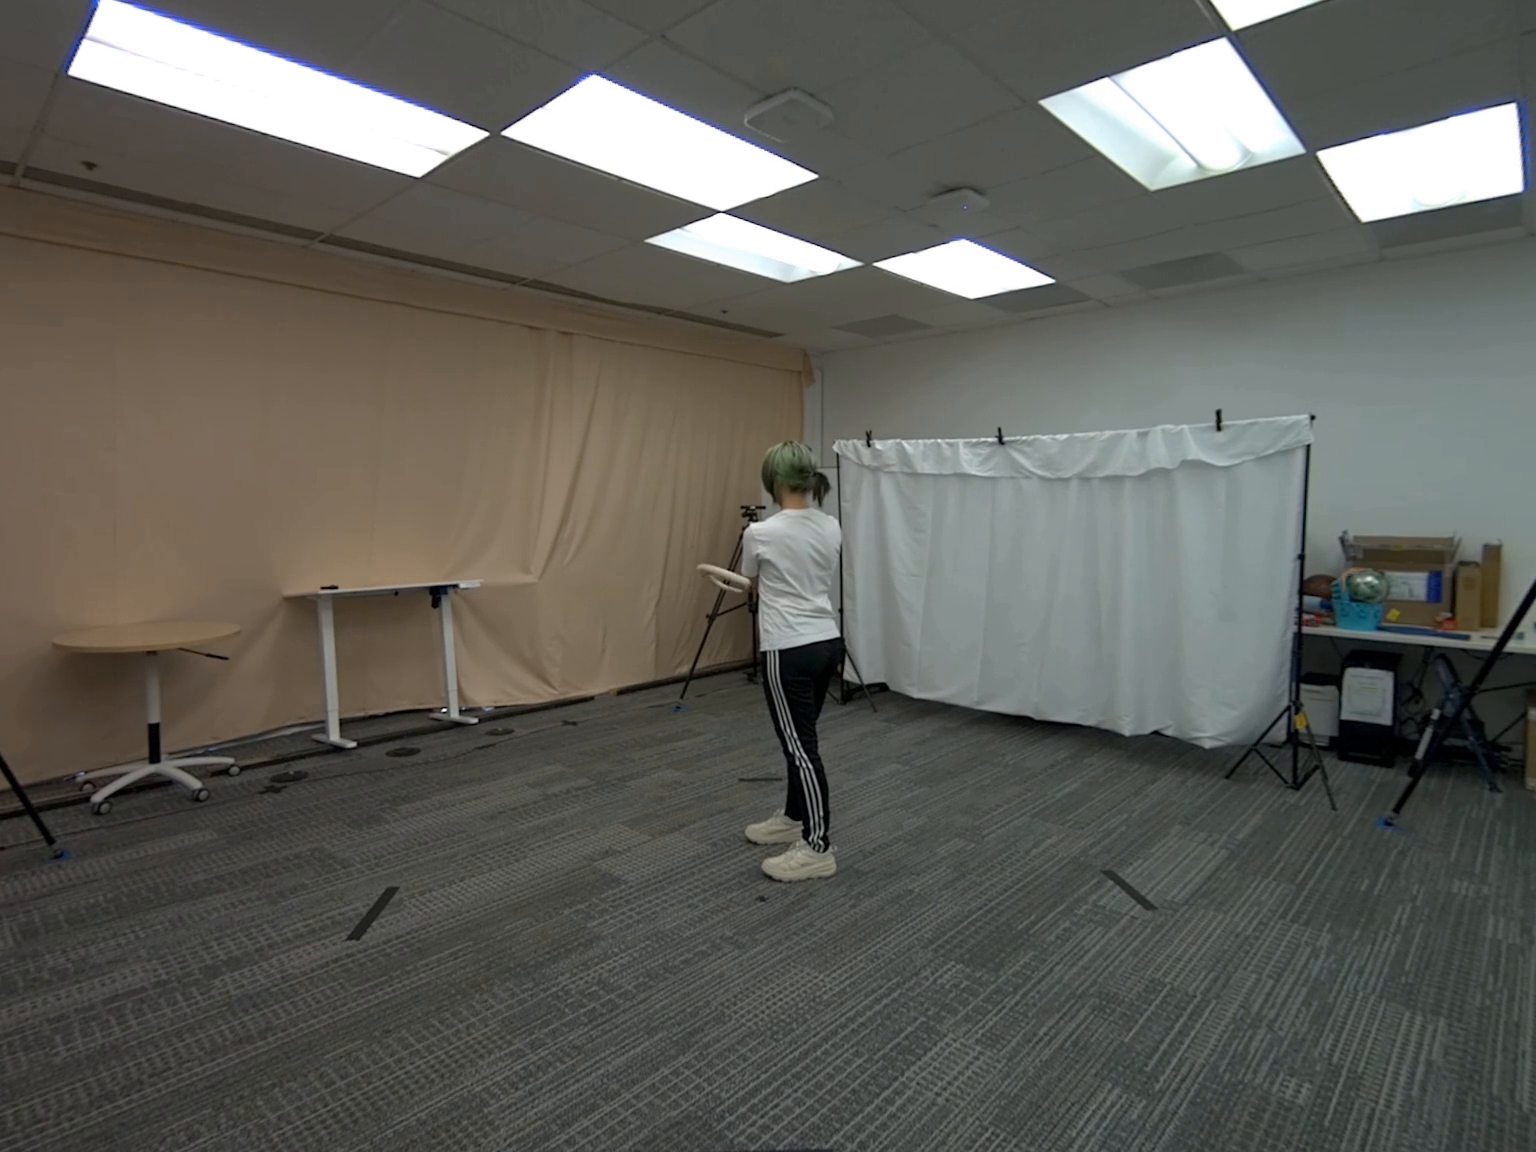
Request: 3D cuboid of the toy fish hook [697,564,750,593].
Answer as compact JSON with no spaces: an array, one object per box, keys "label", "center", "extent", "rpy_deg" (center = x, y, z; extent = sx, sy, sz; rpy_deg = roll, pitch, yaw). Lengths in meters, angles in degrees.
[{"label":"toy fish hook","center":[-0.108,0.054,3.847],"extent":[0.523,0.048,0.217],"rpy_deg":[18,-18,30]}]
